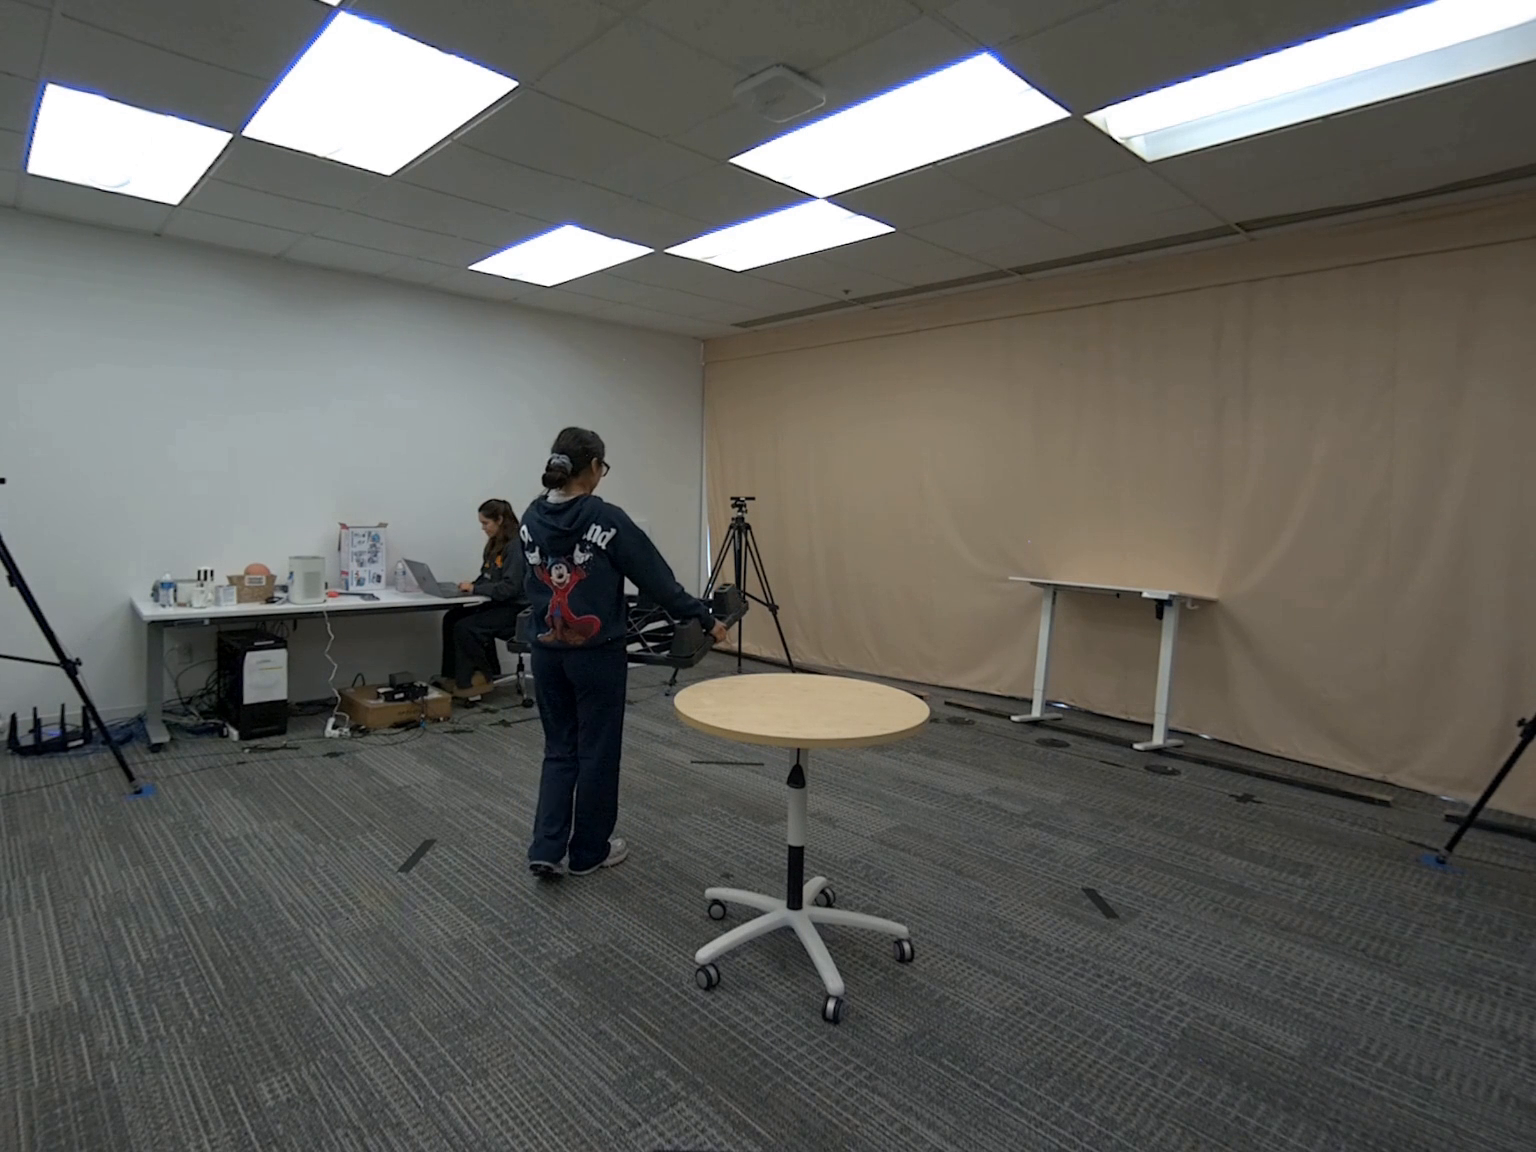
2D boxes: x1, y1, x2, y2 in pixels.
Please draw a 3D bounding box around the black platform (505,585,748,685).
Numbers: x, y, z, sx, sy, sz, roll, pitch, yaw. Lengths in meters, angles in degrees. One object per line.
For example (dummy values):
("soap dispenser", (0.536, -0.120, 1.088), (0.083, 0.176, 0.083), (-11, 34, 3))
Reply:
("black platform", (-0.547, 0.156, 3.361), (0.819, 0.141, 0.604), (3, 21, 21))
